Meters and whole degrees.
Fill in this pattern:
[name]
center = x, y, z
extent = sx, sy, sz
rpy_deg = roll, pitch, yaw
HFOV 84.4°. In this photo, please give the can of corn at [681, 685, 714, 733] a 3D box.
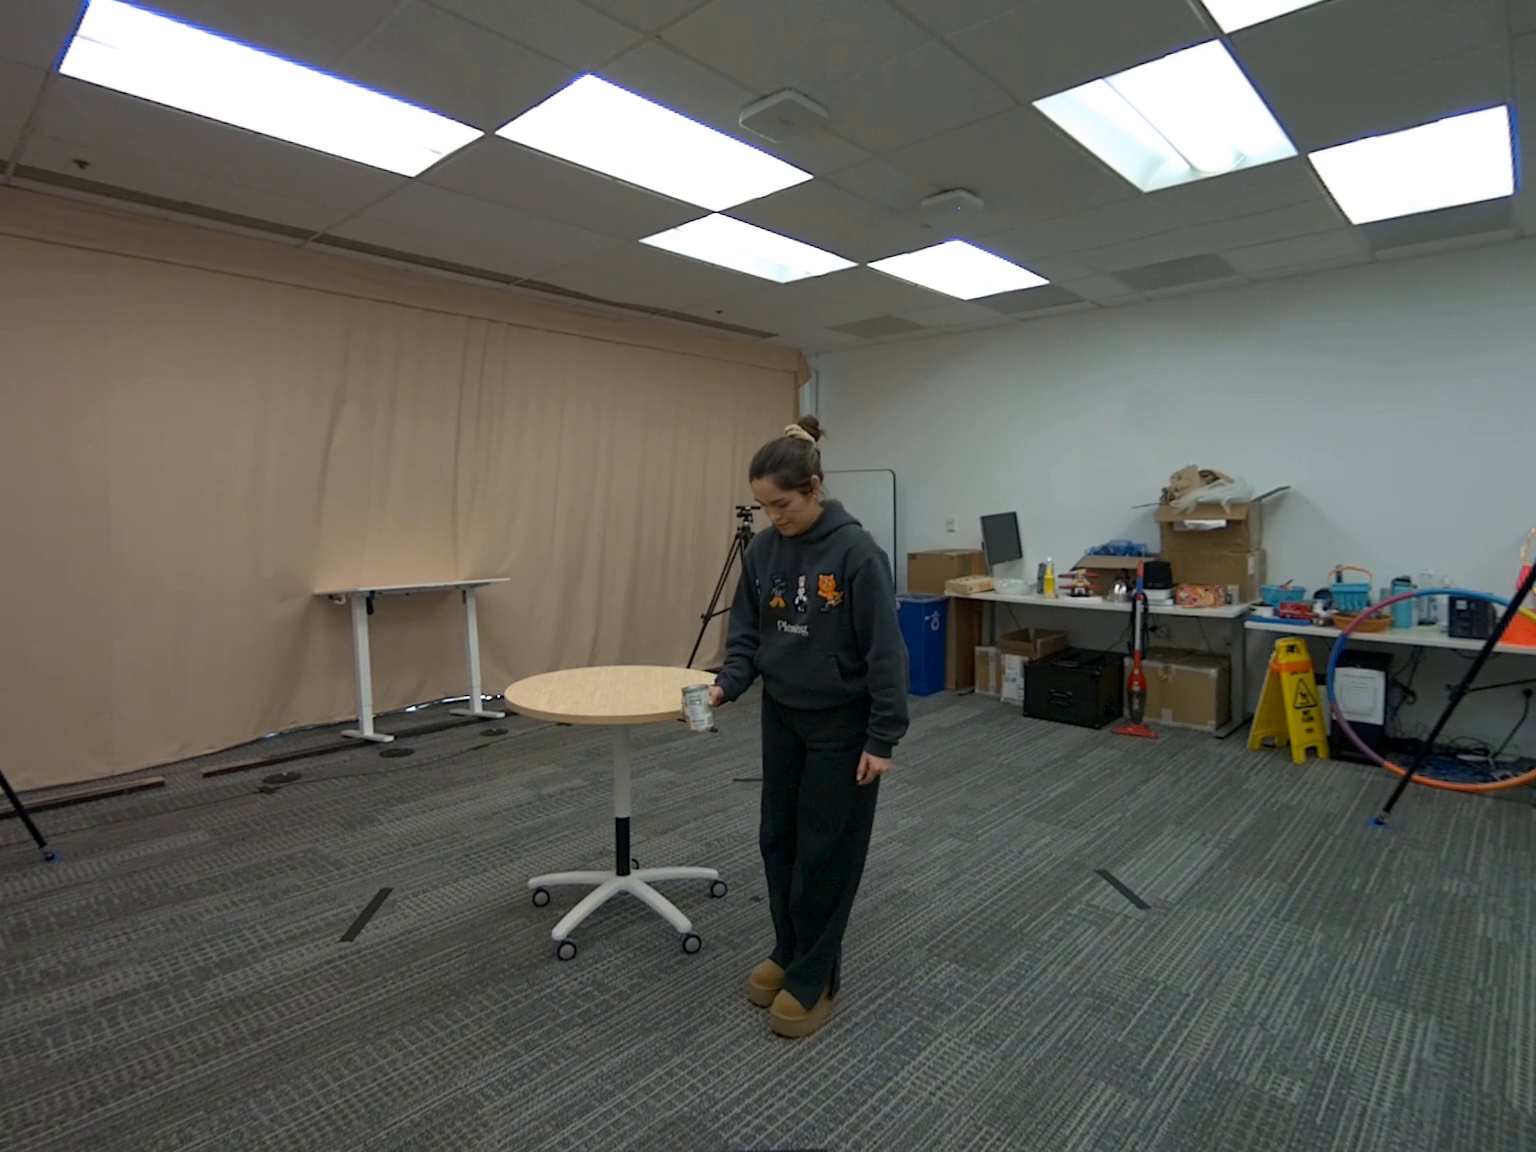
[can of corn]
center = -0.185, 0.369, 2.255
extent = 0.074, 0.111, 0.074
rpy_deg = -8, -5, -3
